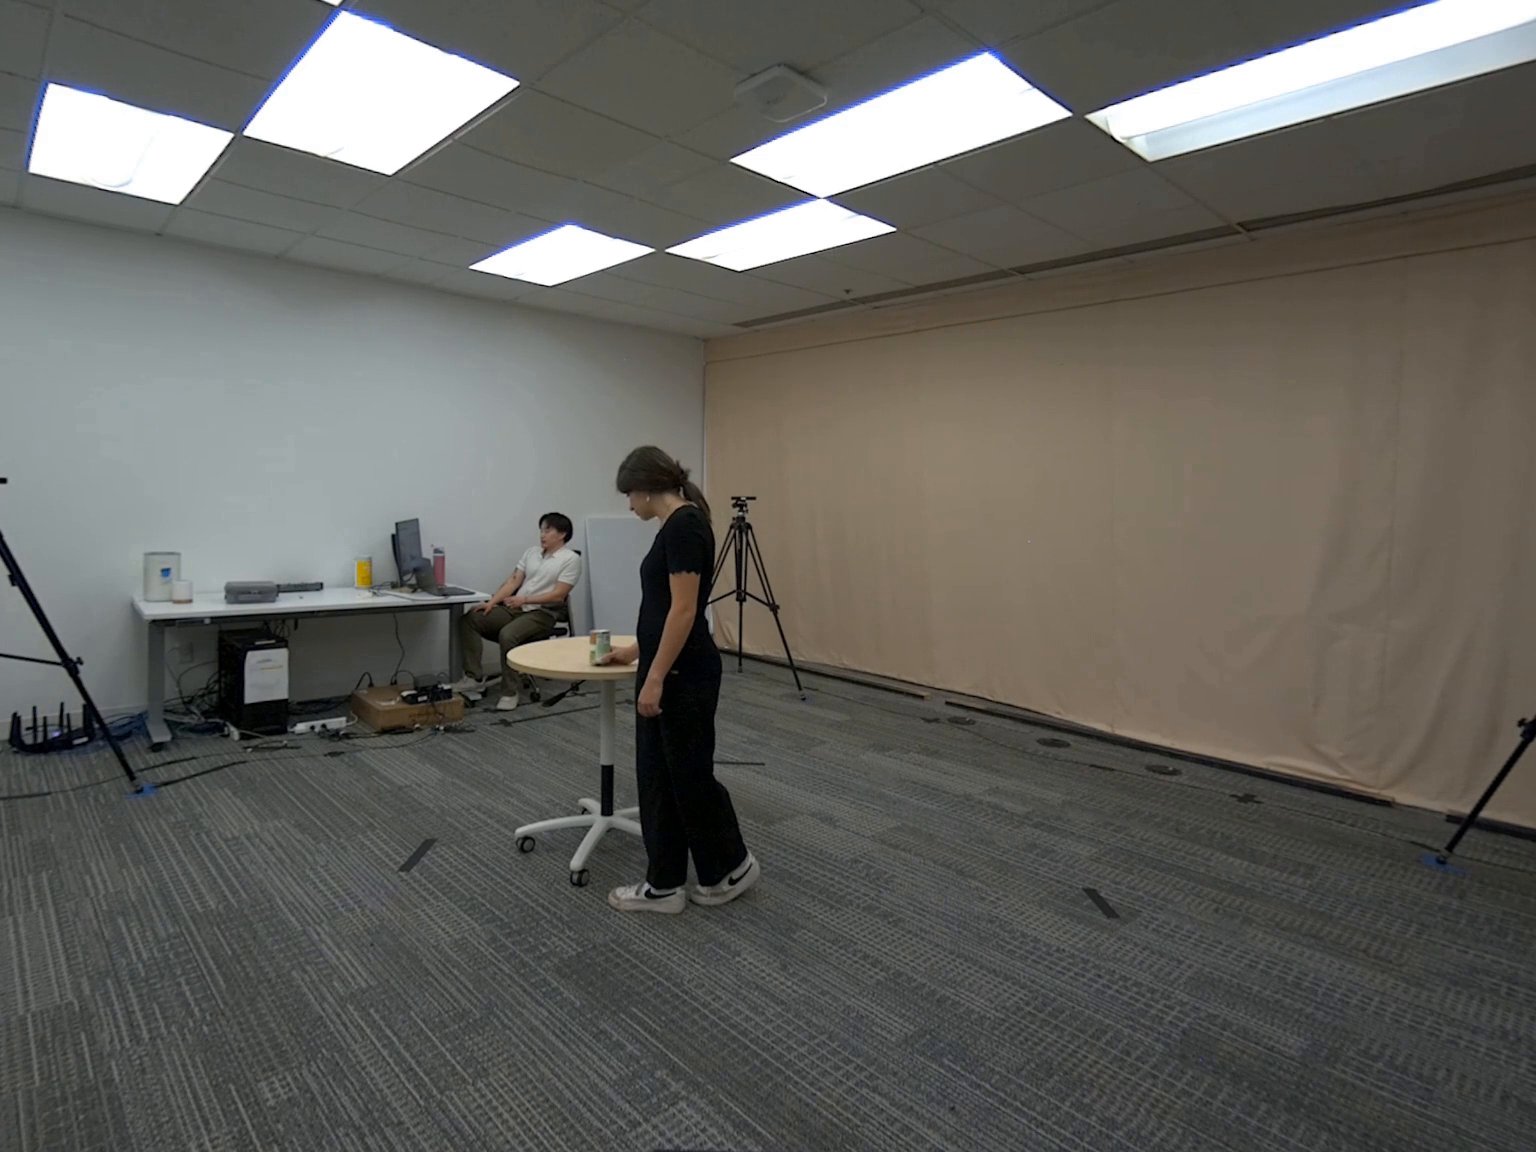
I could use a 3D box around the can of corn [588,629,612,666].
[{"bbox_3d":[-0.599,0.251,3.018,0.074,0.111,0.074,1,-3,-1],"label":"can of corn"}]
